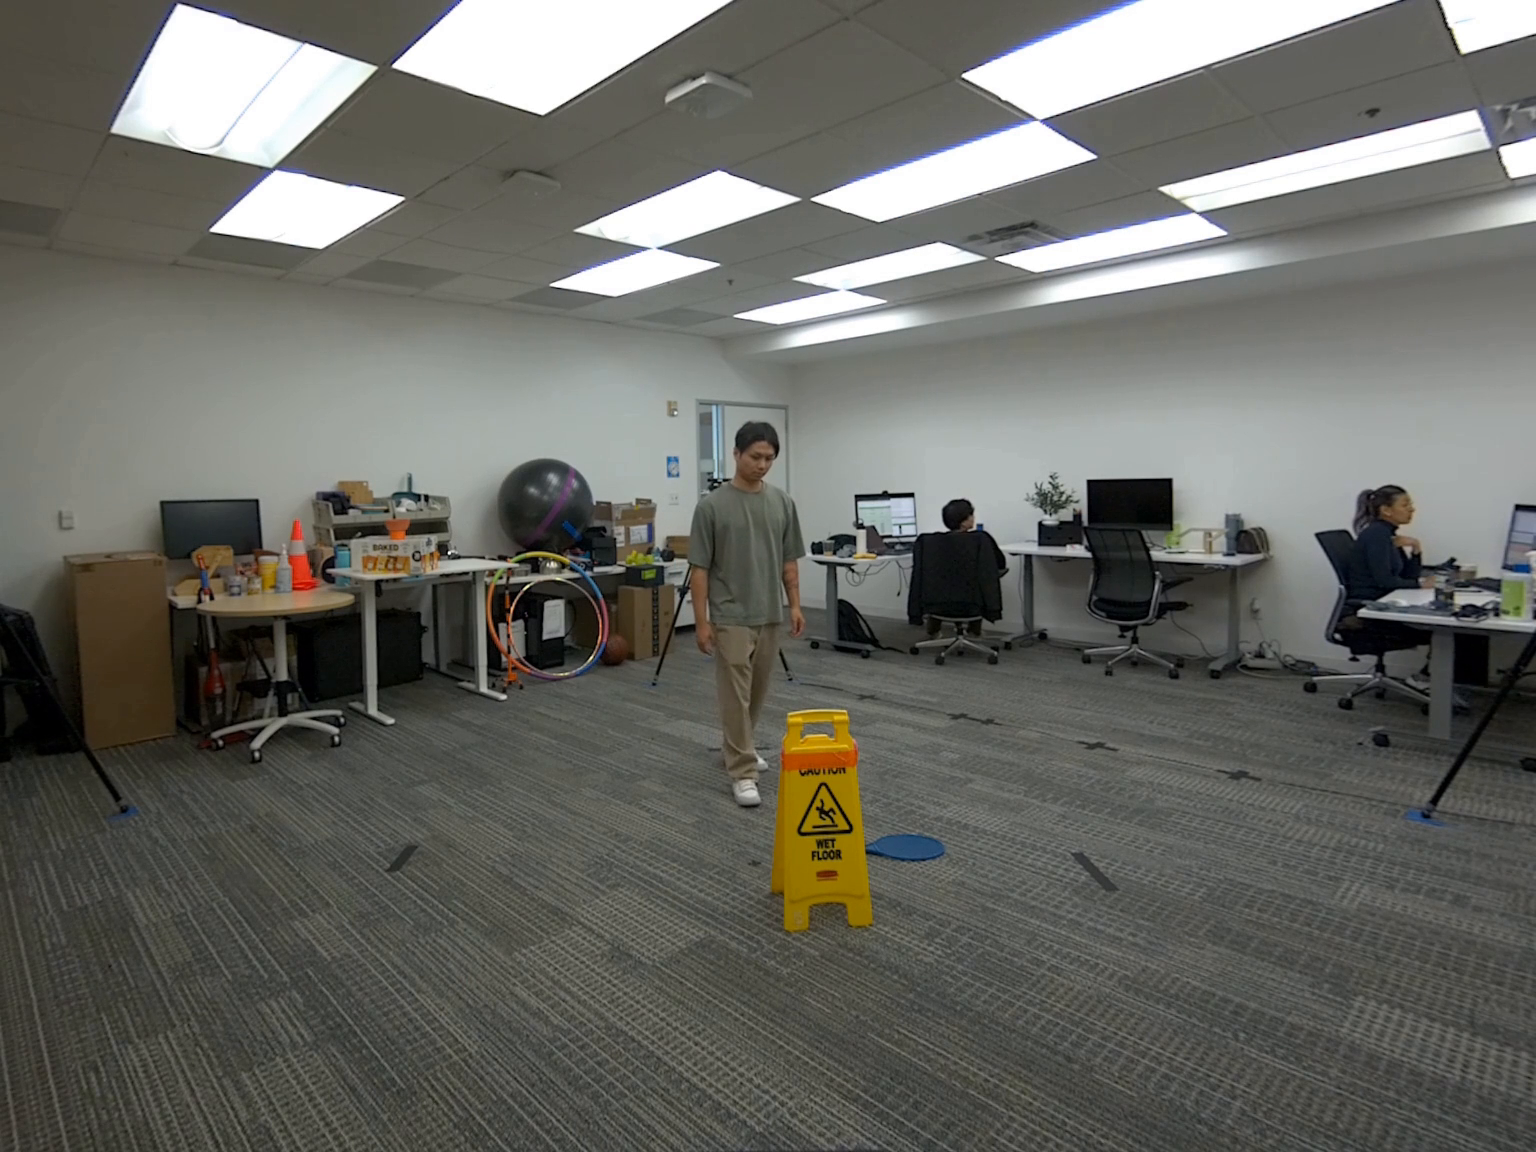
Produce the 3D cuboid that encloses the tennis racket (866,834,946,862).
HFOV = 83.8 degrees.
[{"bbox_3d":[0.443,1.010,3.190,0.430,0.031,0.216,0,6,-8],"label":"tennis racket"}]
